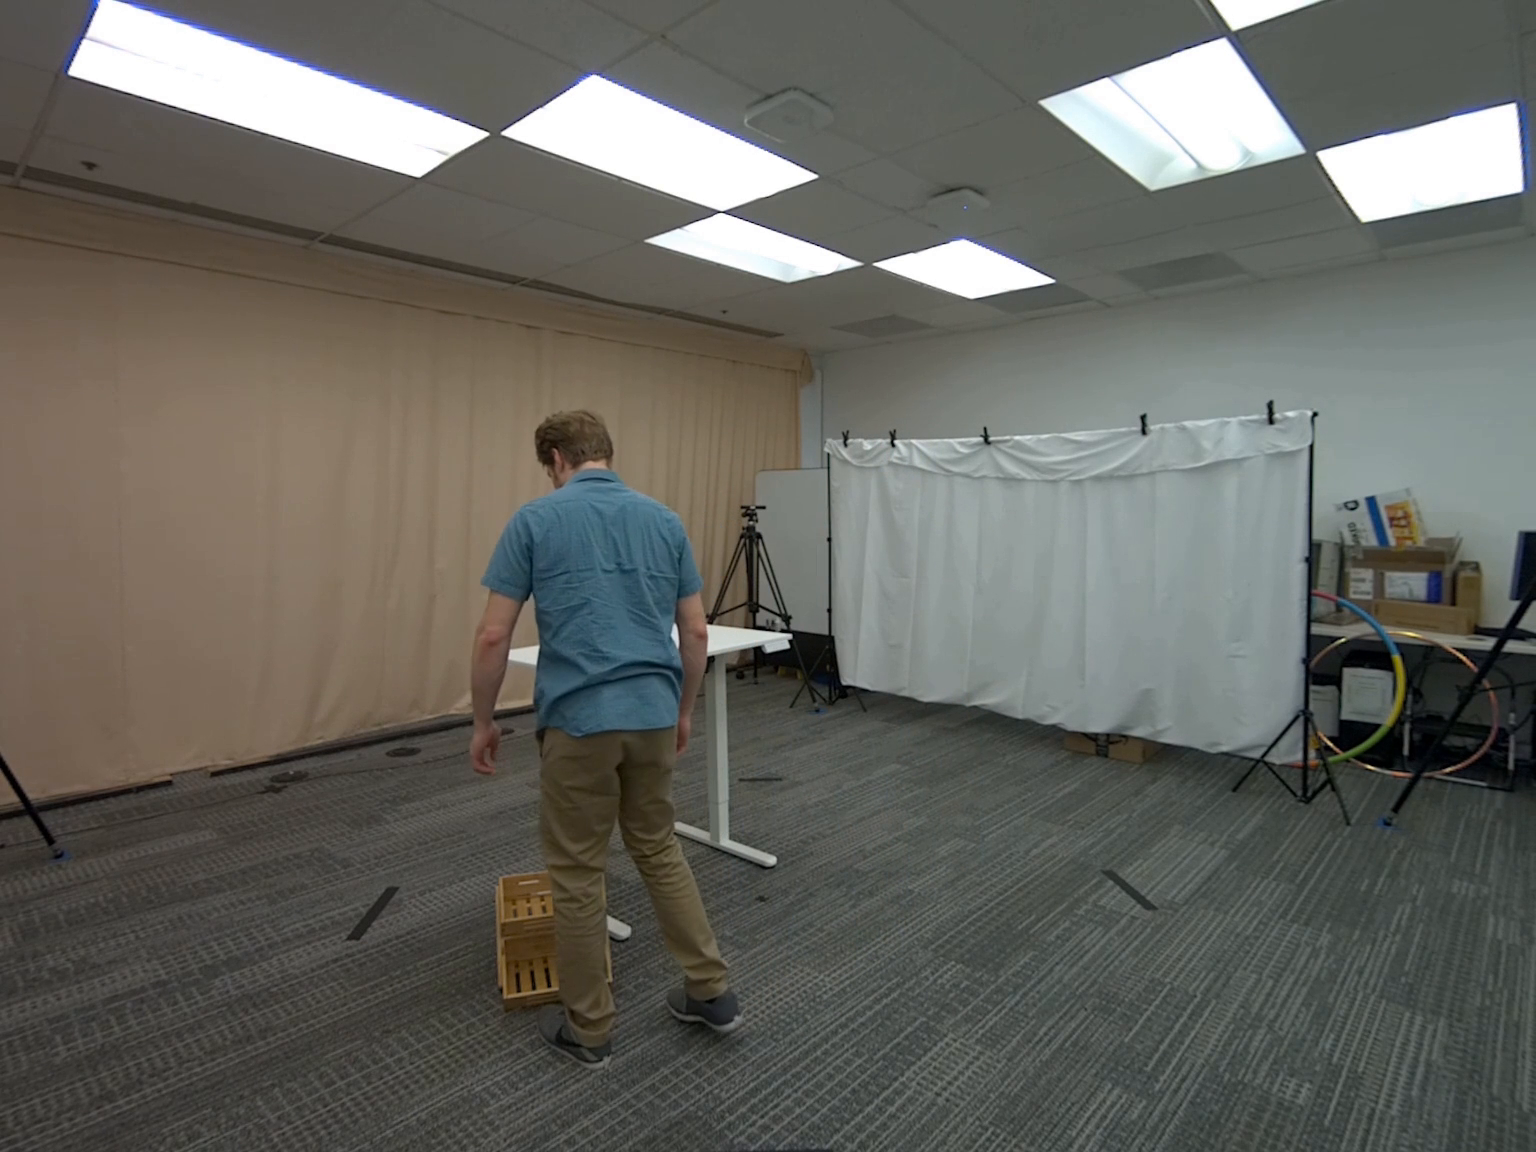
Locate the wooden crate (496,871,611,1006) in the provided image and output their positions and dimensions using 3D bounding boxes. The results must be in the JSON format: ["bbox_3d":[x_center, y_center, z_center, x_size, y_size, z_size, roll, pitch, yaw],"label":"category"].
[{"bbox_3d":[-0.632,1.056,2.479,0.319,0.273,0.308,-2,4,-17],"label":"wooden crate"}]
